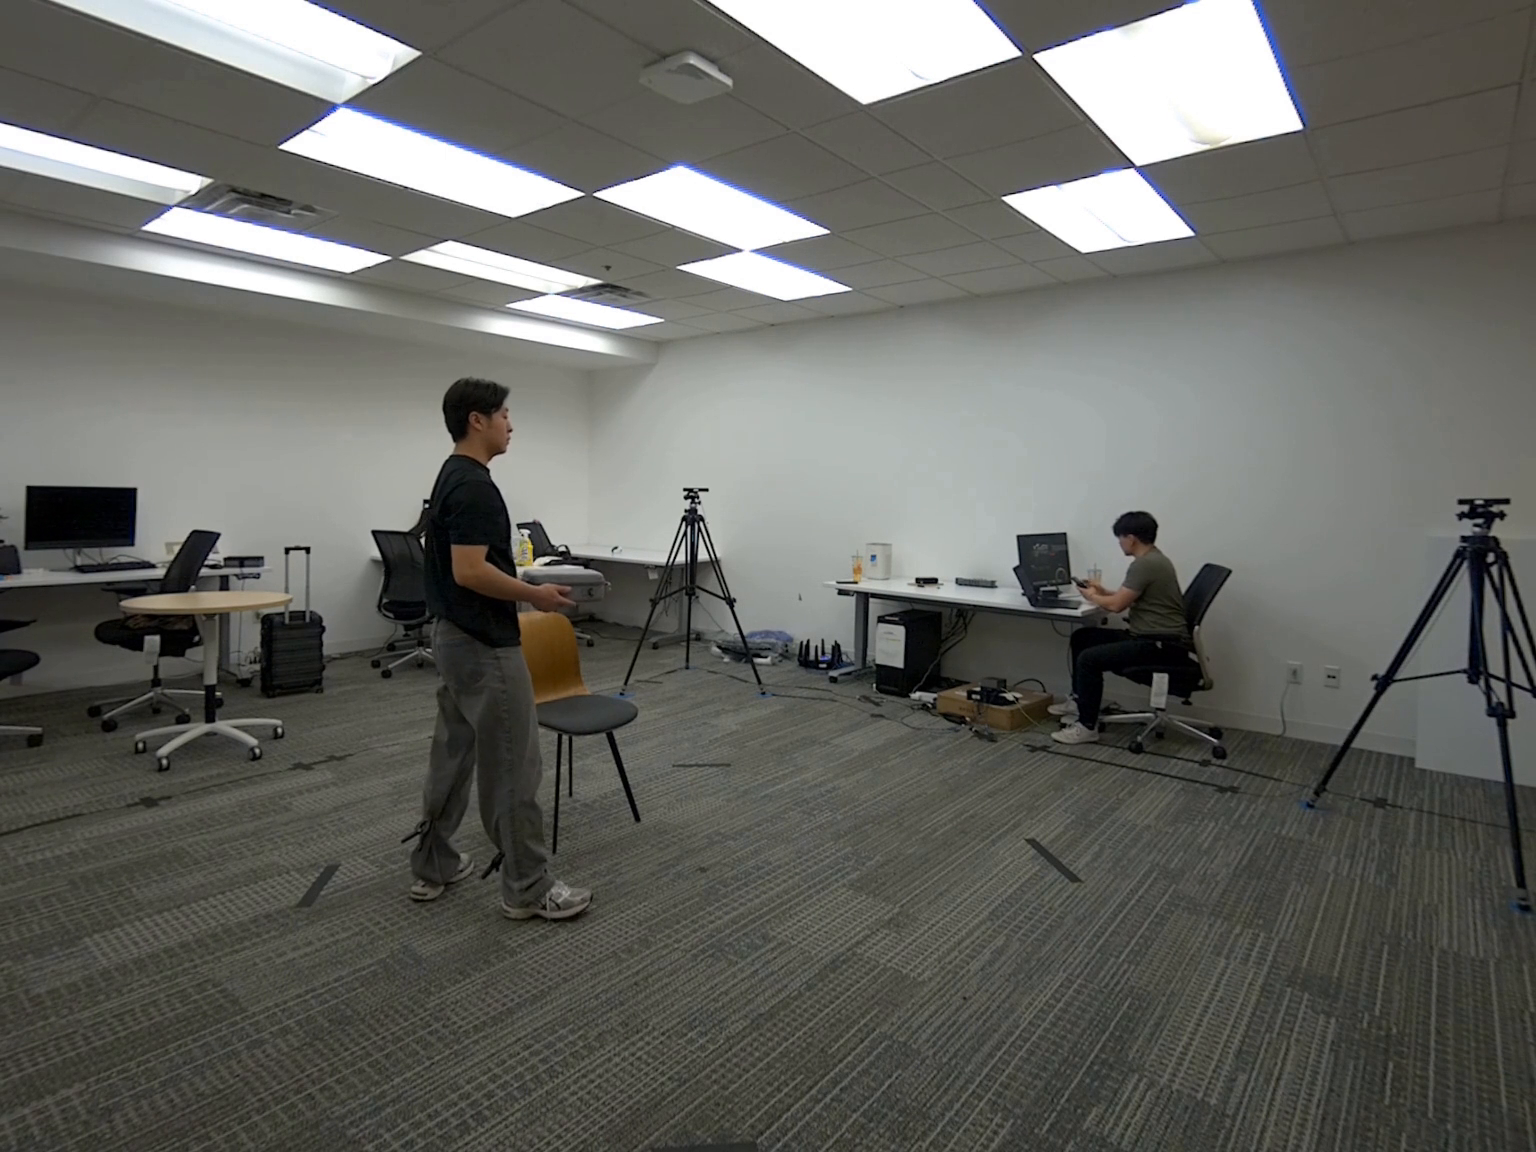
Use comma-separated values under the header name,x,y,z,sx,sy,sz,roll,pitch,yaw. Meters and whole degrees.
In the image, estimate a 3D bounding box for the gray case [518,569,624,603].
name,x,y,z,sx,sy,sz,roll,pitch,yaw
gray case,-0.709,0.034,2.959,0.271,0.103,0.278,-1,1,38
